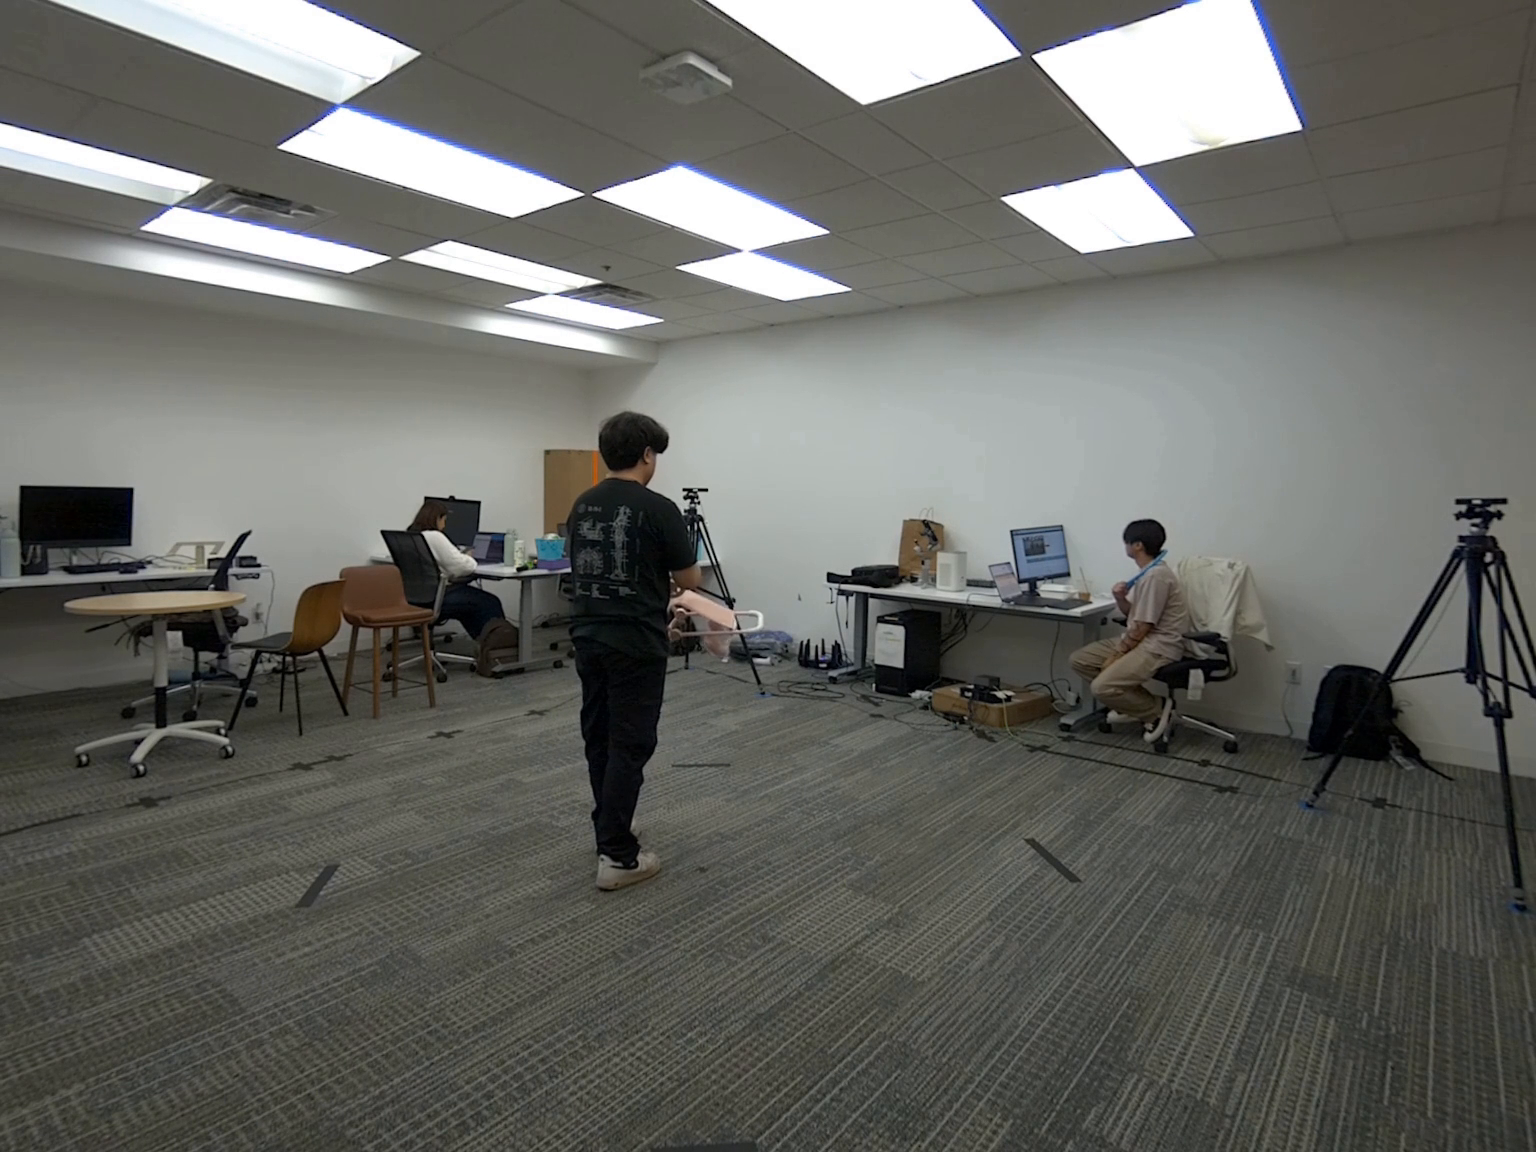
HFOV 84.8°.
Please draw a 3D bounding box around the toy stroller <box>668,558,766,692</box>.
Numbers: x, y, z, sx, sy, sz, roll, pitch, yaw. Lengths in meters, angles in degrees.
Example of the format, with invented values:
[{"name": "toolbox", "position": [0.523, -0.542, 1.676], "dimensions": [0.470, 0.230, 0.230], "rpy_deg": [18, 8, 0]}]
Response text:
[{"name": "toy stroller", "position": [-0.337, 0.149, 3.553], "dimensions": [0.526, 0.341, 0.286], "rpy_deg": [36, 15, -12]}]
